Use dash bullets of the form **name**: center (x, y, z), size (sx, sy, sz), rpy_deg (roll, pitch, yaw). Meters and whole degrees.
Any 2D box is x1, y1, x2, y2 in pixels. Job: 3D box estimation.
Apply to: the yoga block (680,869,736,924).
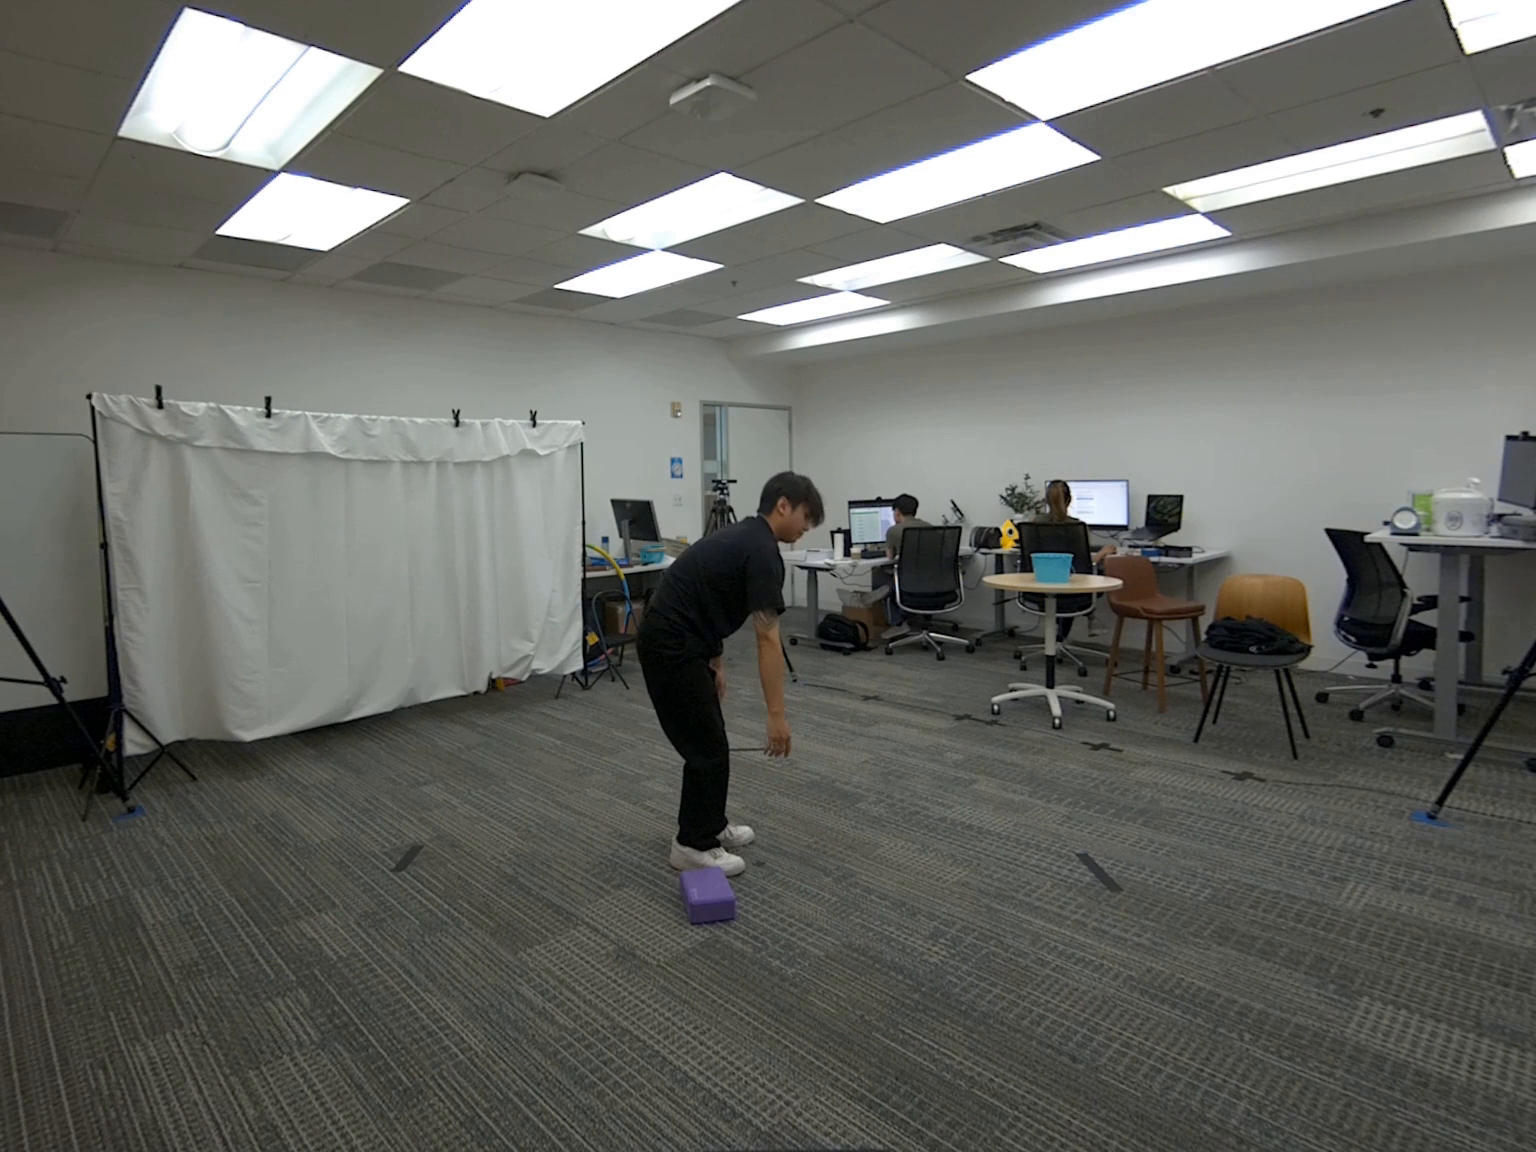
- **yoga block**: center (-0.201, 1.051, 2.808), size (0.147, 0.076, 0.233), rpy_deg (-1, 5, -13)
